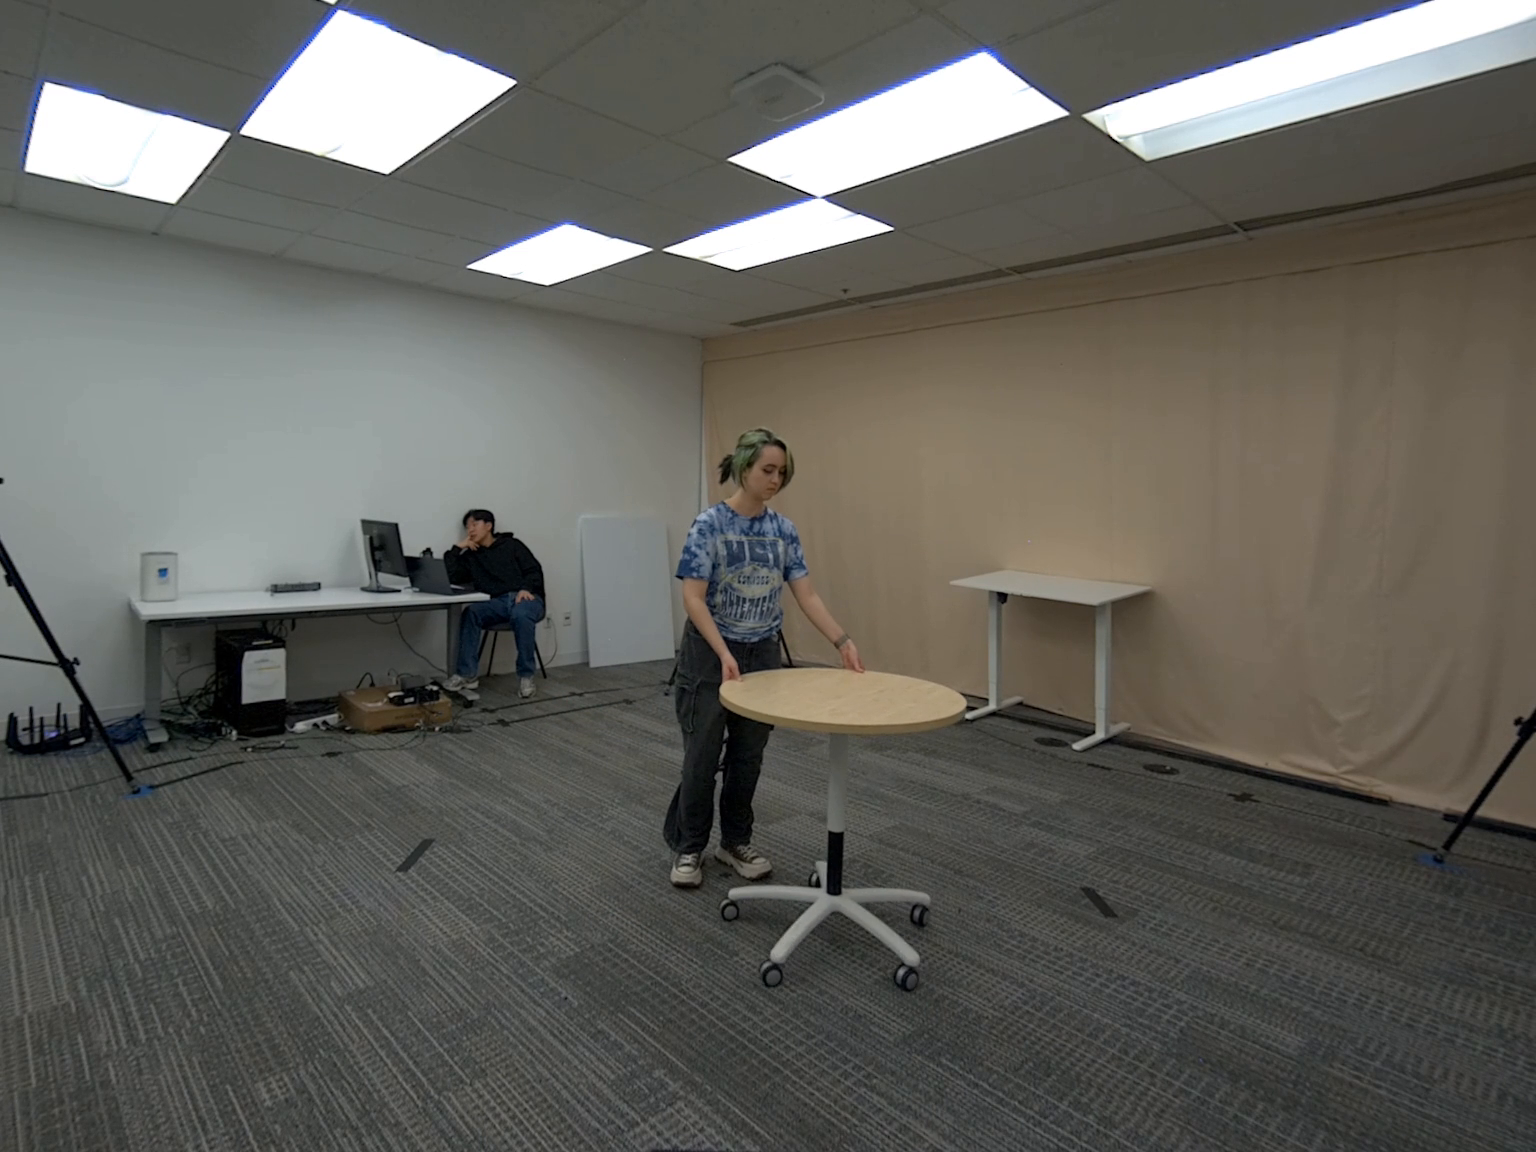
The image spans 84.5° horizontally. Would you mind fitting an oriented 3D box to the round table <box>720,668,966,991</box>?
[{"bbox_3d":[0.208,0.761,2.671,0.763,0.792,0.767,2,4,-2],"label":"round table"}]
